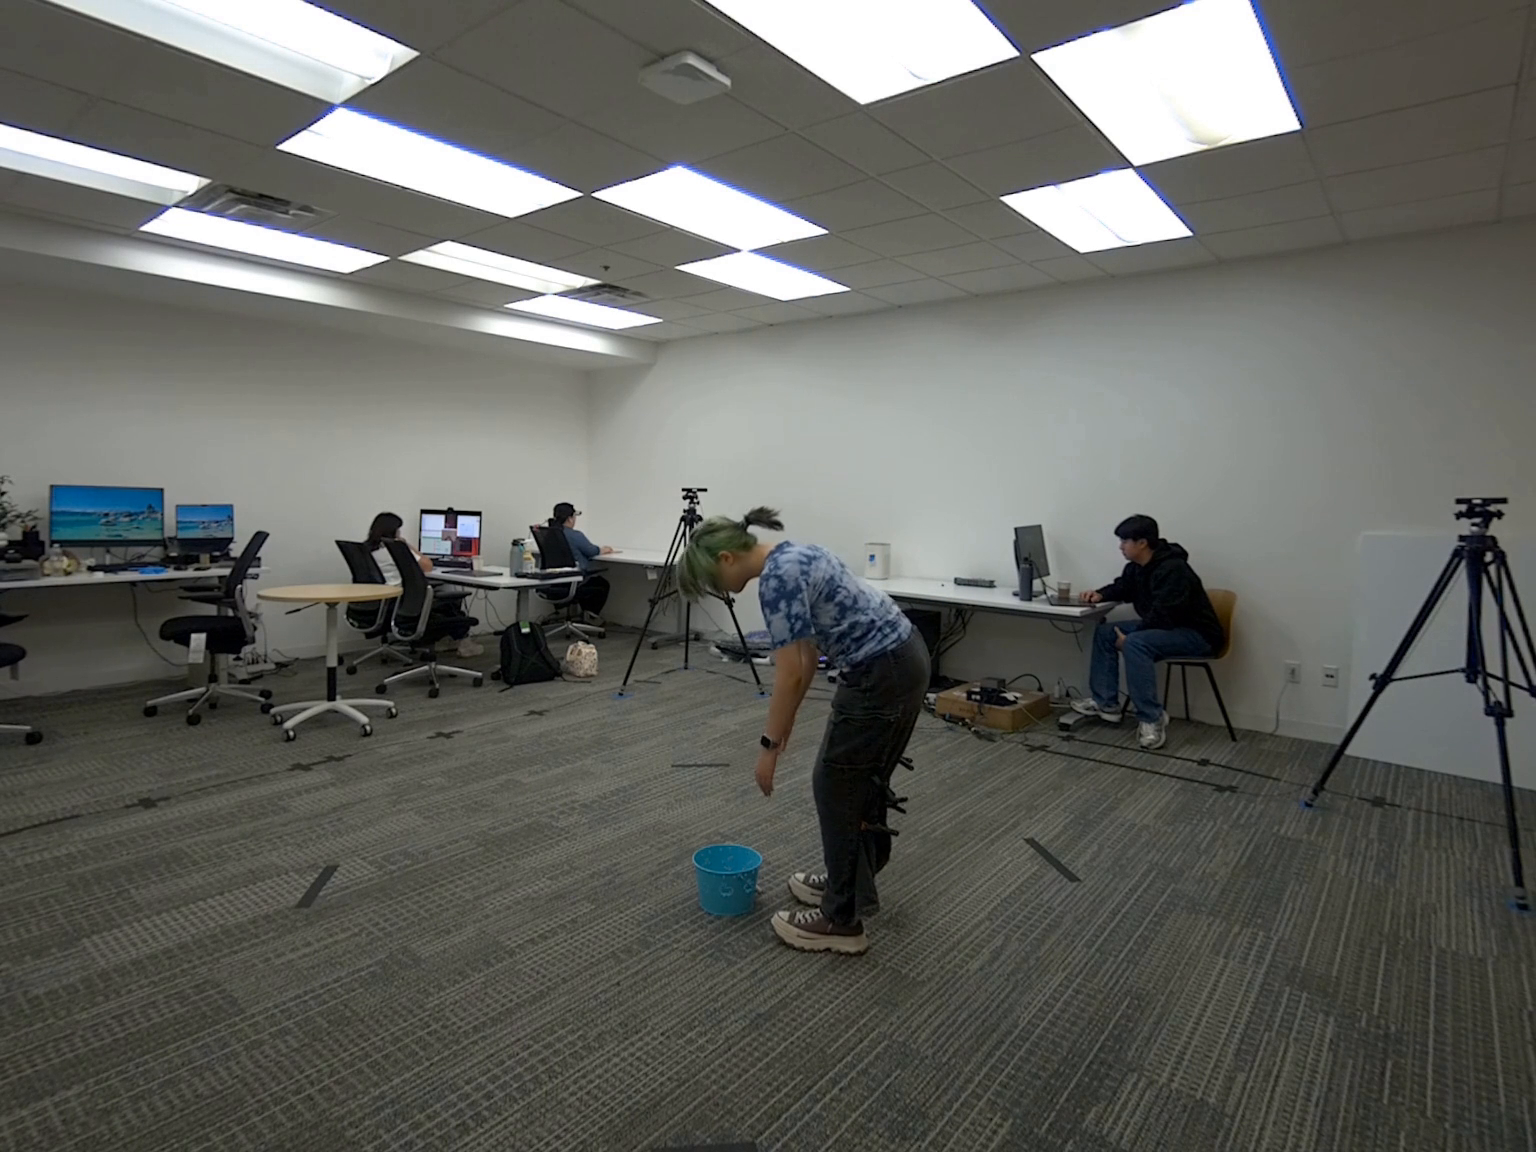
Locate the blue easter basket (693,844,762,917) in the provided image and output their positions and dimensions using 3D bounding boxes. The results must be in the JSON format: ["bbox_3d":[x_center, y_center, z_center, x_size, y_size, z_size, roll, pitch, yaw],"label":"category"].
[{"bbox_3d":[-0.143,1.015,2.851,0.243,0.155,0.245,1,4,-2],"label":"blue easter basket"}]
